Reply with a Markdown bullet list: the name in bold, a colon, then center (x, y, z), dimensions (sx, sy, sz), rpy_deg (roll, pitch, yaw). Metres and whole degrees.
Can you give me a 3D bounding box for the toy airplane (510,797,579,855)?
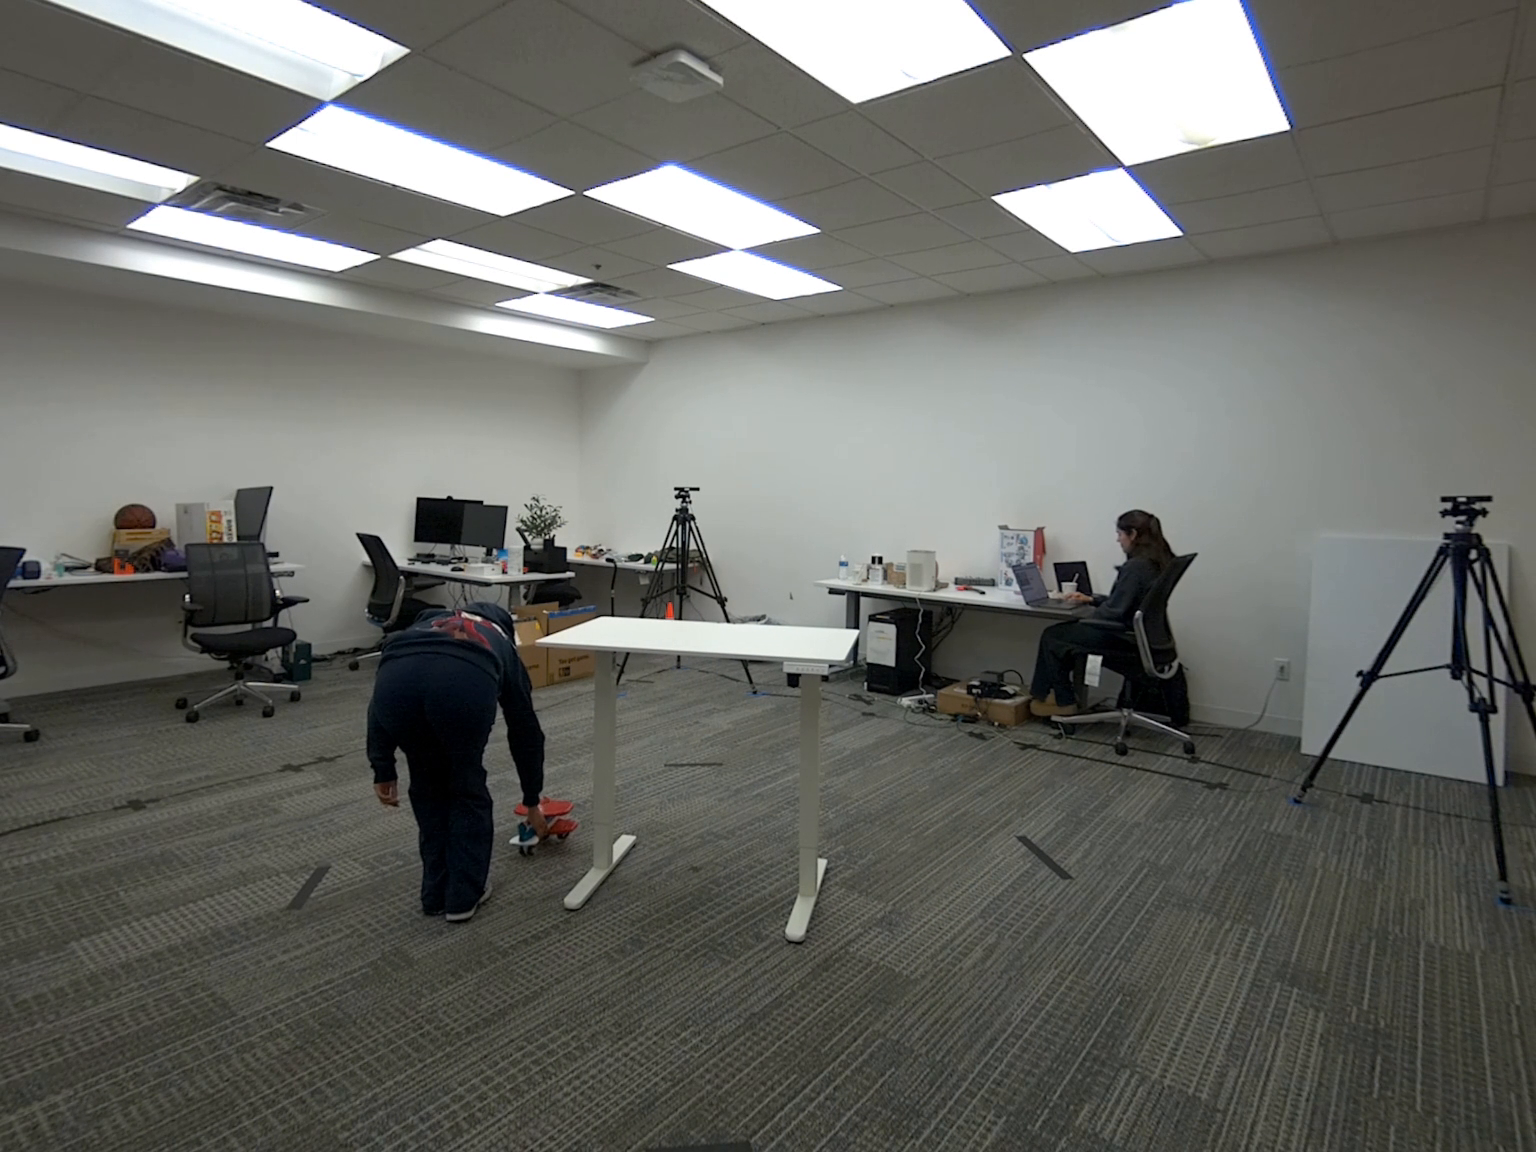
- **toy airplane**: center (-0.859, 0.962, 3.263), dimensions (0.250, 0.156, 0.260), rpy_deg (-5, 0, -6)
